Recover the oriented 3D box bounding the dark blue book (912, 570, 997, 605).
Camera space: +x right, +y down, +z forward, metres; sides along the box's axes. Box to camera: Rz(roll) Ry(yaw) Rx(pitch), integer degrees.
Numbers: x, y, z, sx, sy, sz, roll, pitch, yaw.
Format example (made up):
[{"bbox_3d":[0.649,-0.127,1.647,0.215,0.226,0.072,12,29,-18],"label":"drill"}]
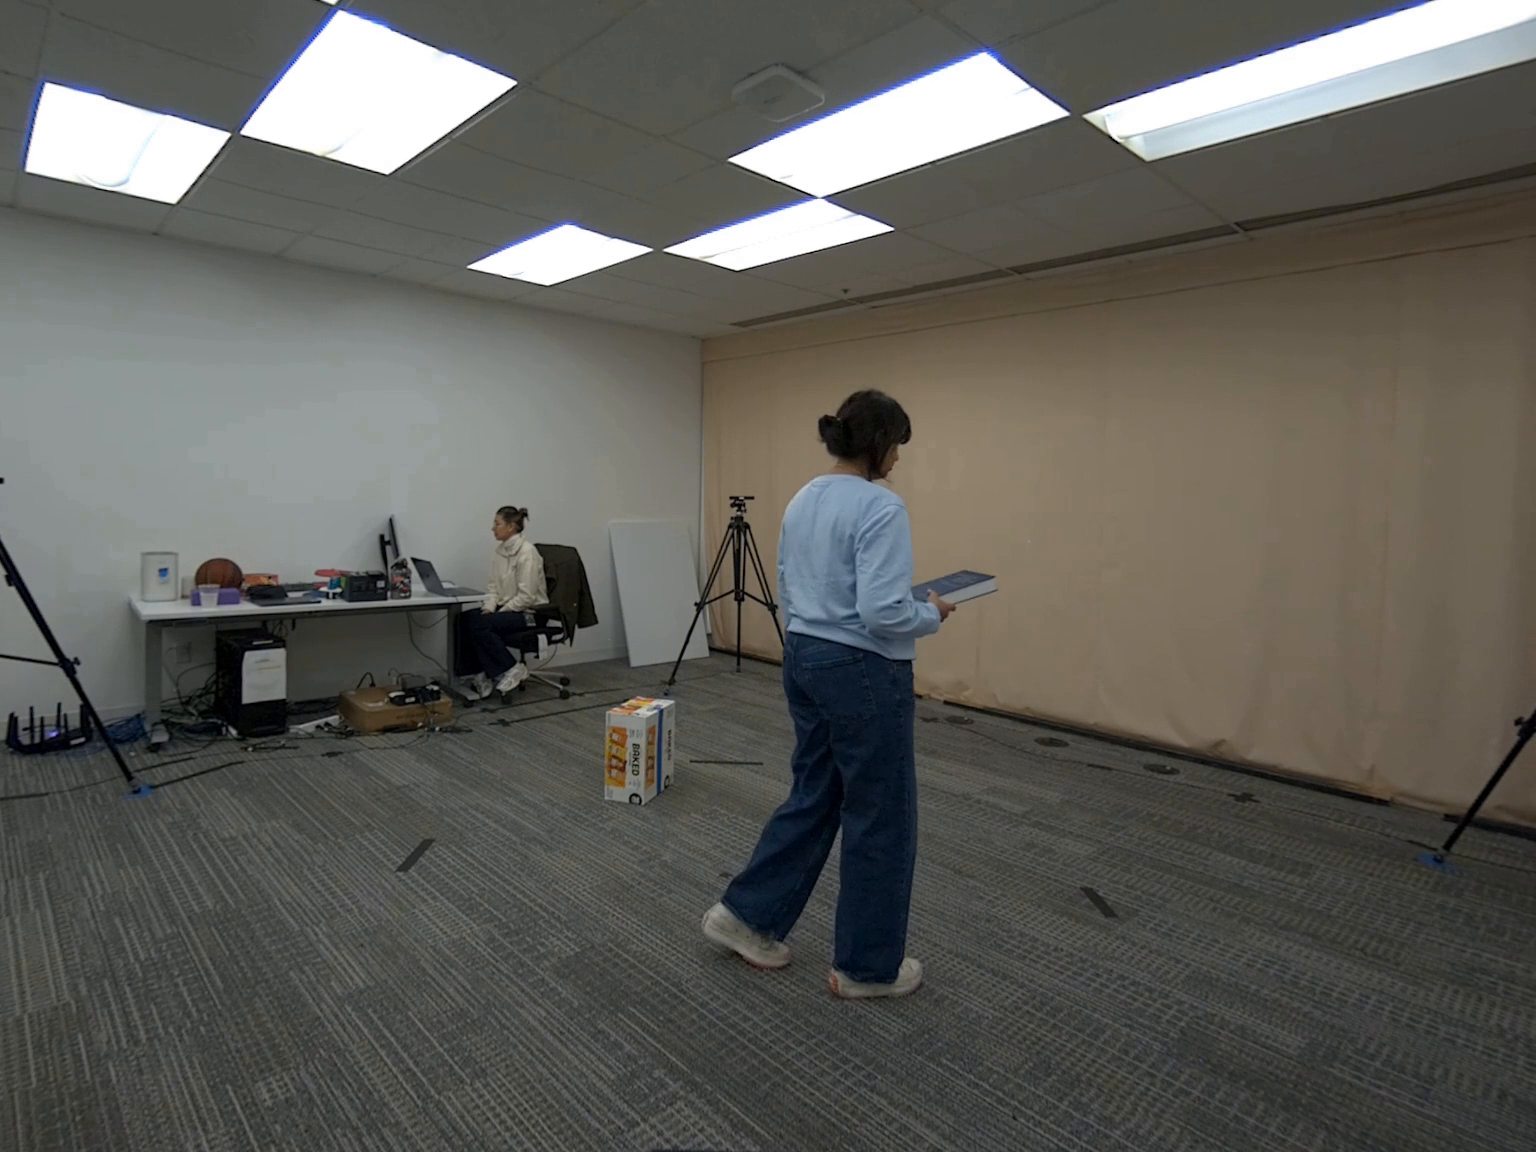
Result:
[{"bbox_3d":[0.518,0.045,2.453,0.242,0.045,0.167,-15,12,-20],"label":"dark blue book"}]
